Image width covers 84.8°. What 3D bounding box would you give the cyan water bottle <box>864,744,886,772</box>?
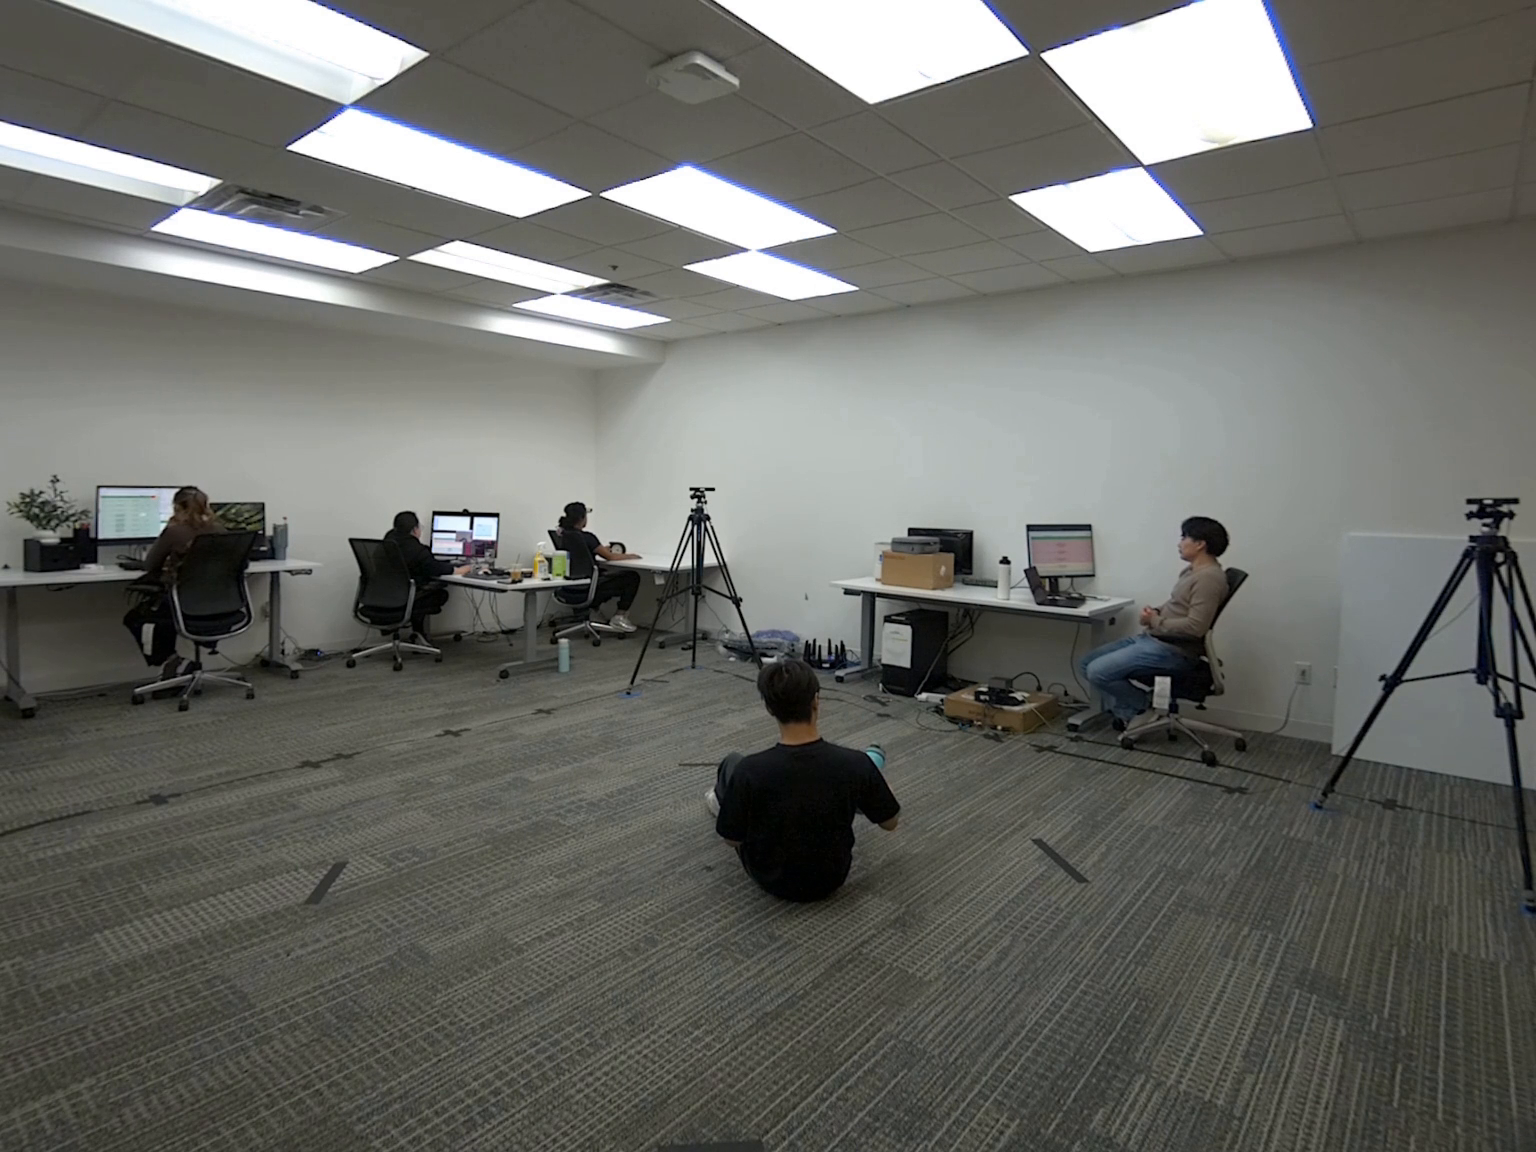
[{"bbox_3d":[0.378,0.772,3.295,0.095,0.286,0.089,2,-41,28],"label":"cyan water bottle"}]
